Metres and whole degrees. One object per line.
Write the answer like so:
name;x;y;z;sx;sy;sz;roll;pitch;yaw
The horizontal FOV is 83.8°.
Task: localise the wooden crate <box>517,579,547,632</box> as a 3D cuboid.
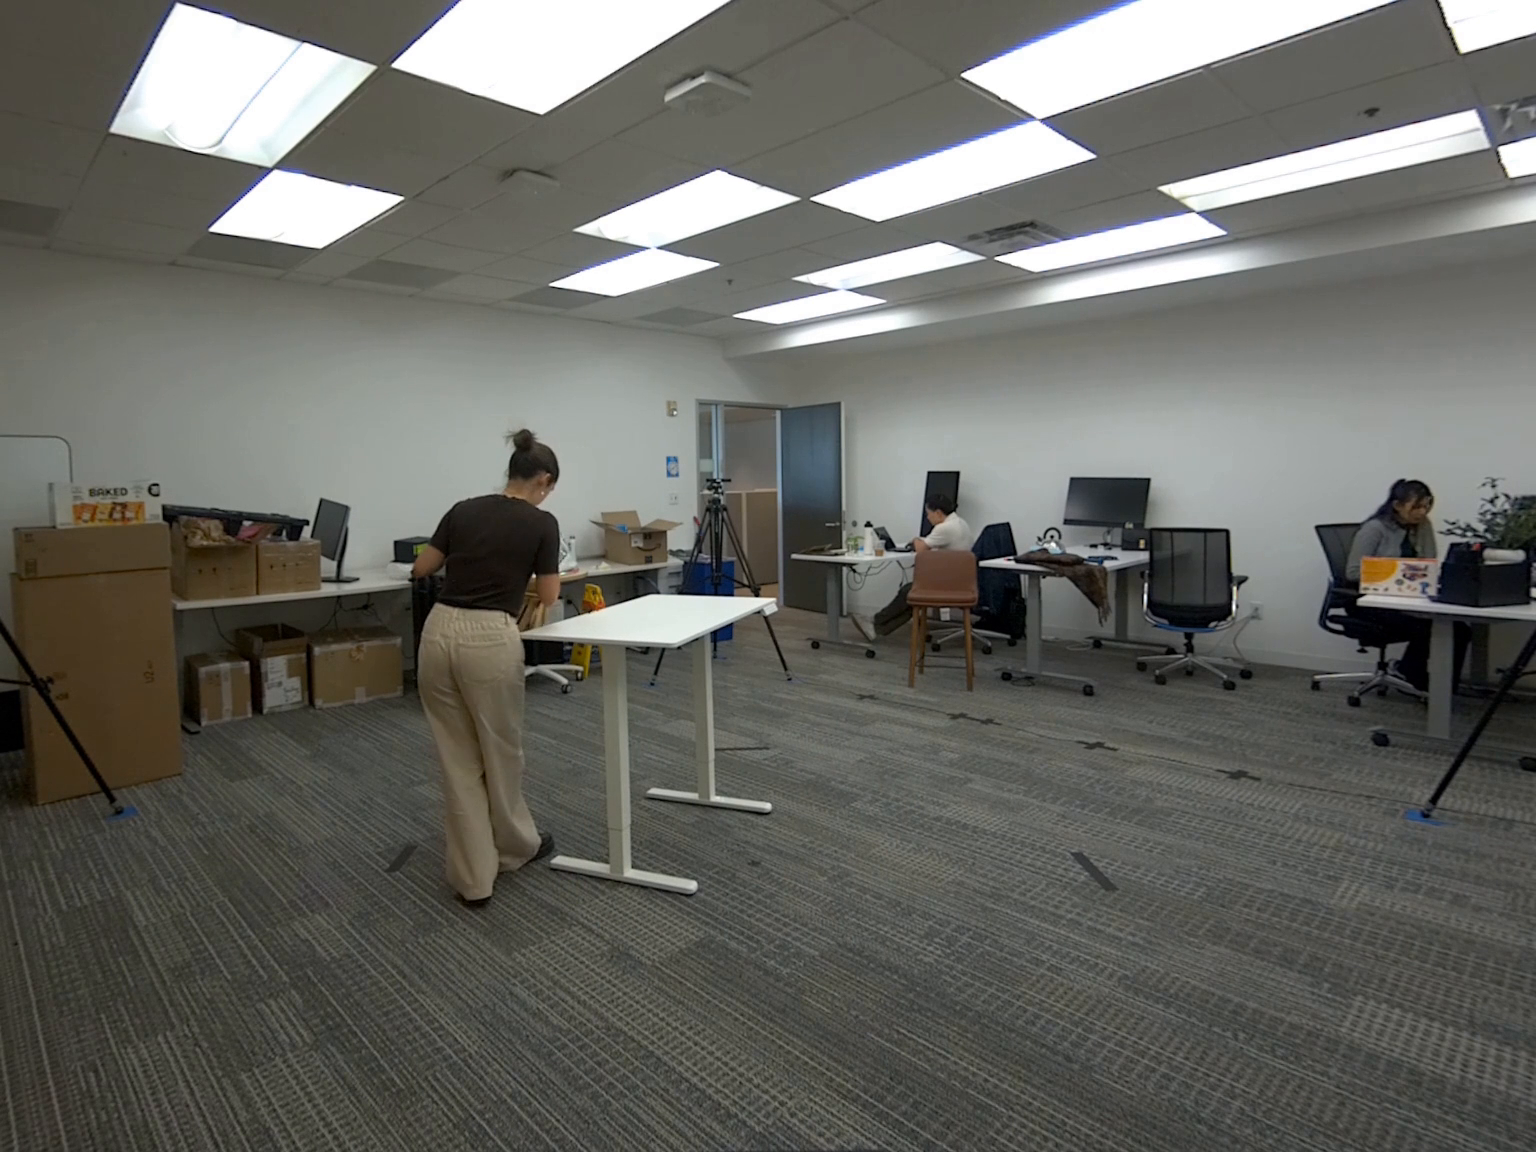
wooden crate;-0.994;0.042;3.253;0.326;0.267;0.308;5;36;2
